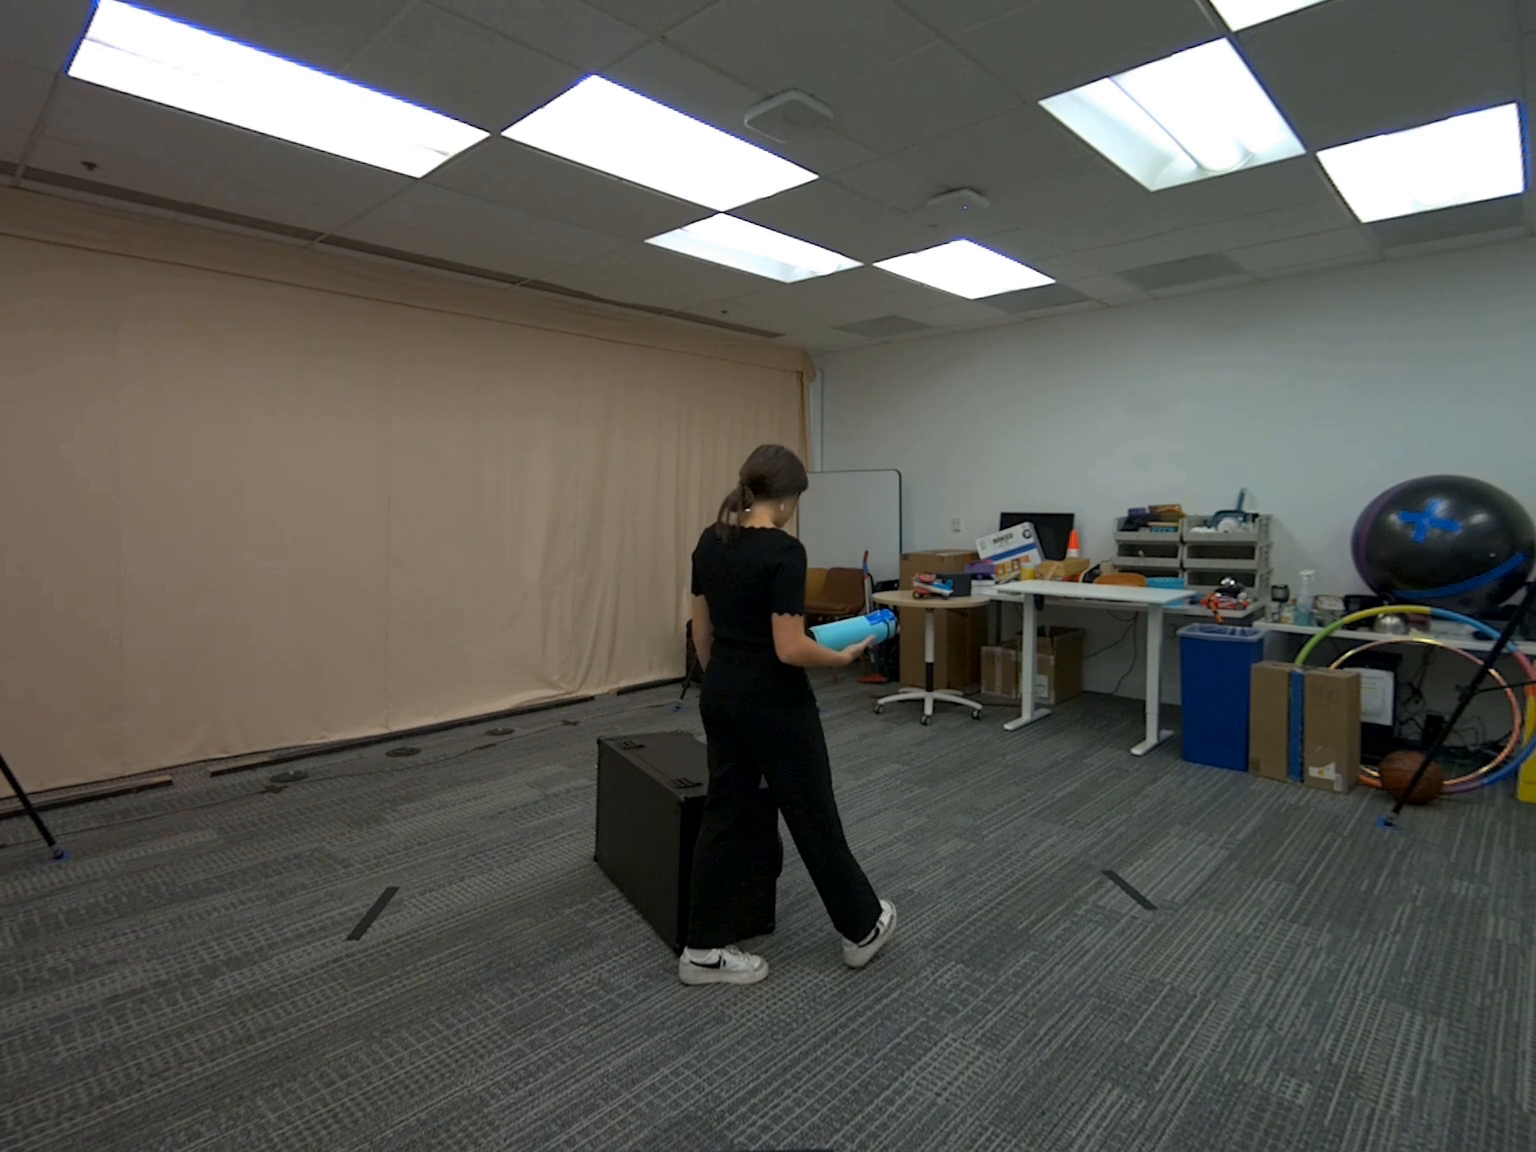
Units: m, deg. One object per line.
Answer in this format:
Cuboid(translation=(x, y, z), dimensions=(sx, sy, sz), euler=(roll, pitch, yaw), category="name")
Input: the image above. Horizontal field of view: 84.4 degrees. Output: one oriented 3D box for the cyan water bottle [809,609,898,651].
Cuboid(translation=(0.266, 0.173, 2.489), dimensions=(0.280, 0.092, 0.094), euler=(-13, 7, -13), category="cyan water bottle")
